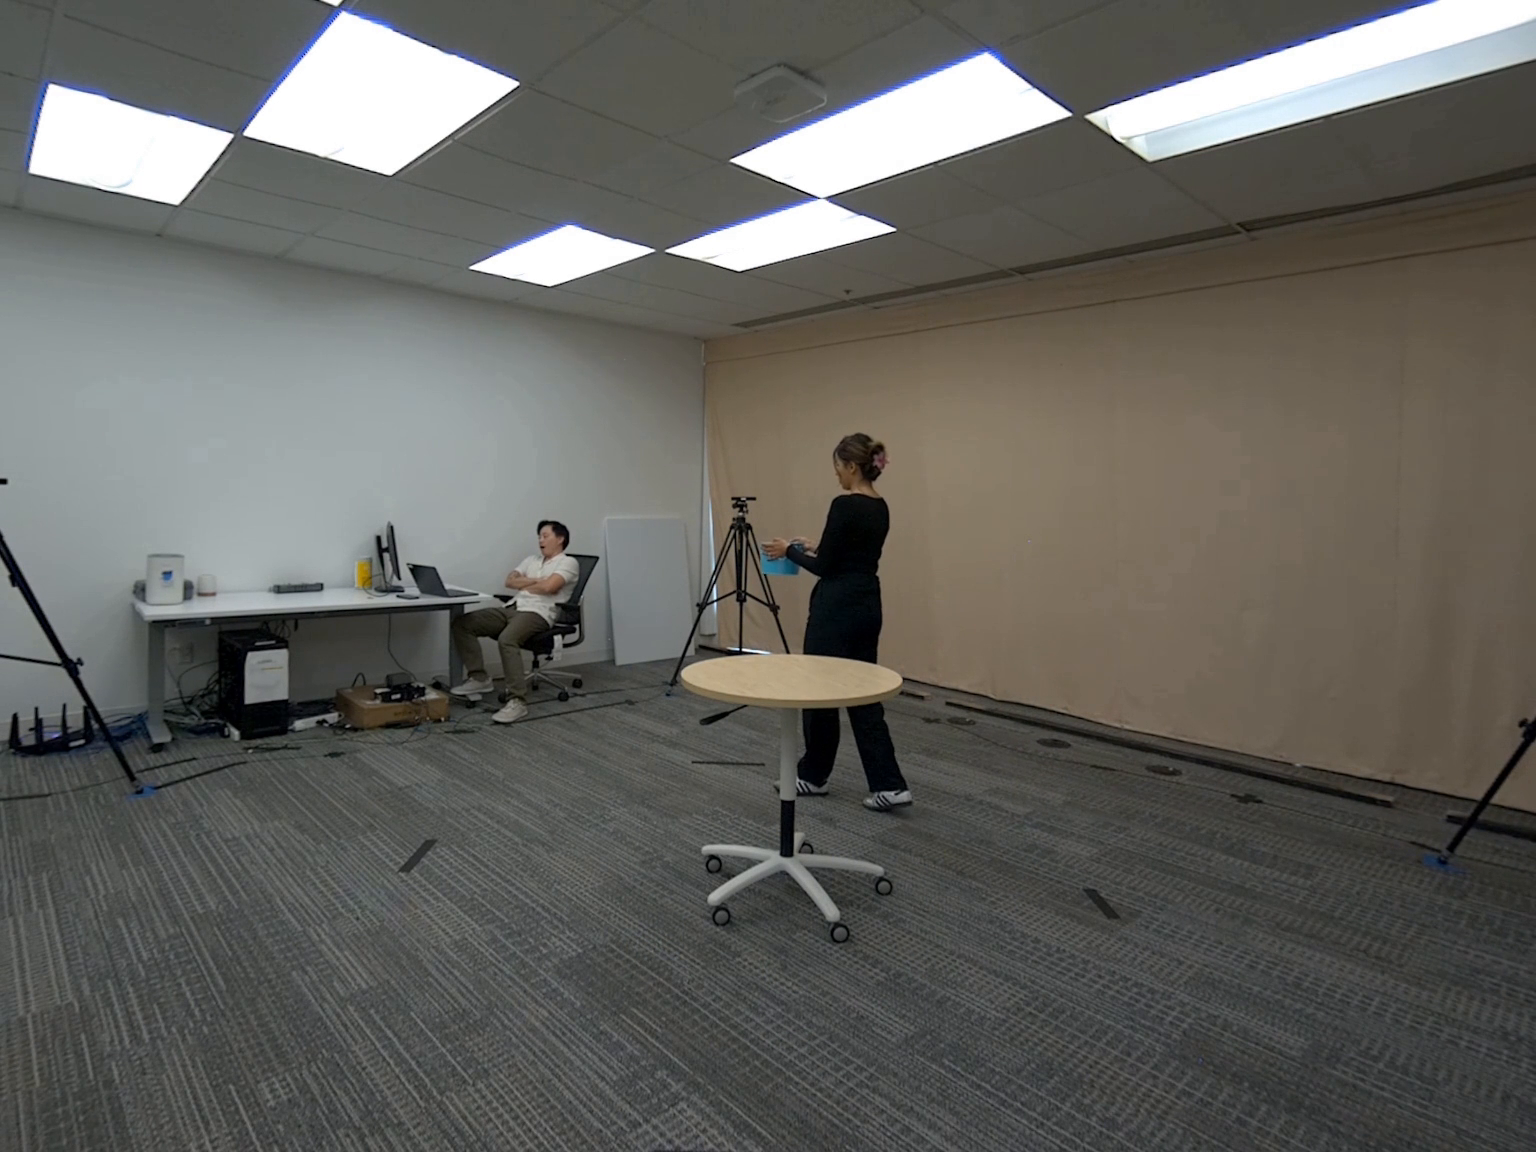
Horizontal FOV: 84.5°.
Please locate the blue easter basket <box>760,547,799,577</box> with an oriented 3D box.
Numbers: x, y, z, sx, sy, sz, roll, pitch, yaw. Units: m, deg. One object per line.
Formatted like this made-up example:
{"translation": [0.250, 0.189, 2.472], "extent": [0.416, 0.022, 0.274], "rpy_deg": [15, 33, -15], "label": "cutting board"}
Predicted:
{"translation": [0.073, -0.082, 4.092], "extent": [0.243, 0.156, 0.244], "rpy_deg": [3, 2, -1], "label": "blue easter basket"}
